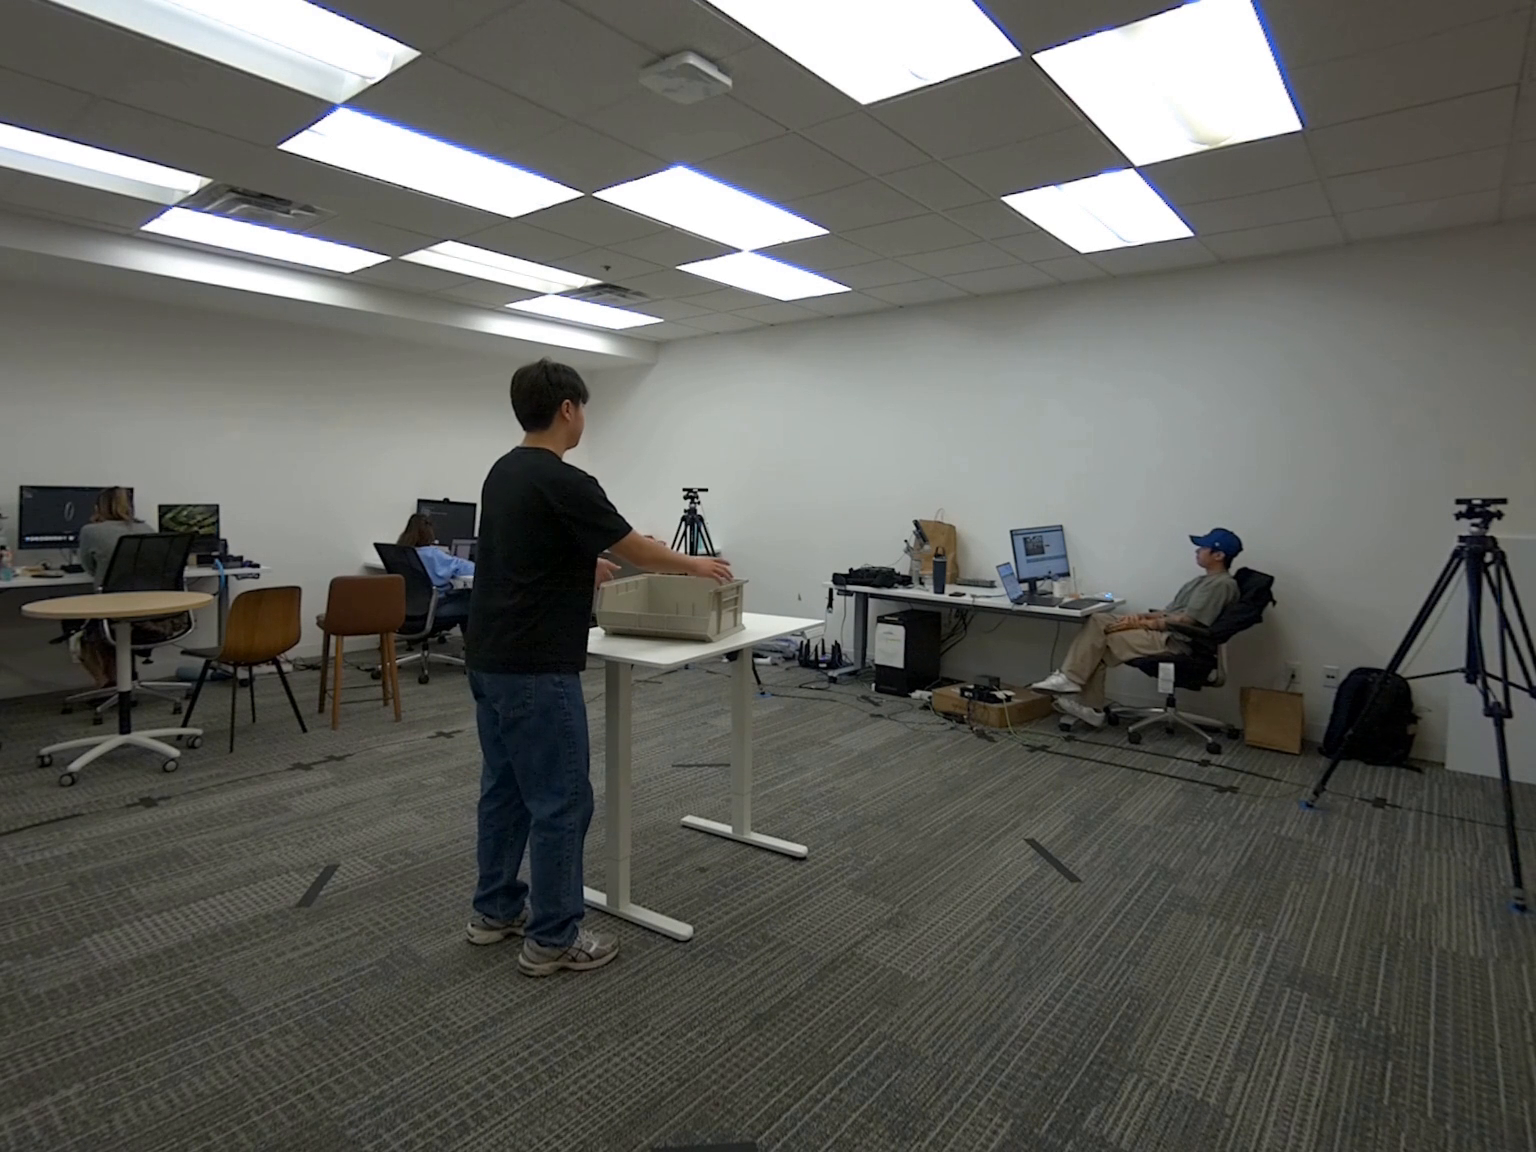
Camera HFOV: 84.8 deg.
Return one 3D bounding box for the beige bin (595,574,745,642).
[{"bbox_3d":[-0.340,0.111,2.986,0.432,0.188,0.370,2,4,20],"label":"beige bin"}]
